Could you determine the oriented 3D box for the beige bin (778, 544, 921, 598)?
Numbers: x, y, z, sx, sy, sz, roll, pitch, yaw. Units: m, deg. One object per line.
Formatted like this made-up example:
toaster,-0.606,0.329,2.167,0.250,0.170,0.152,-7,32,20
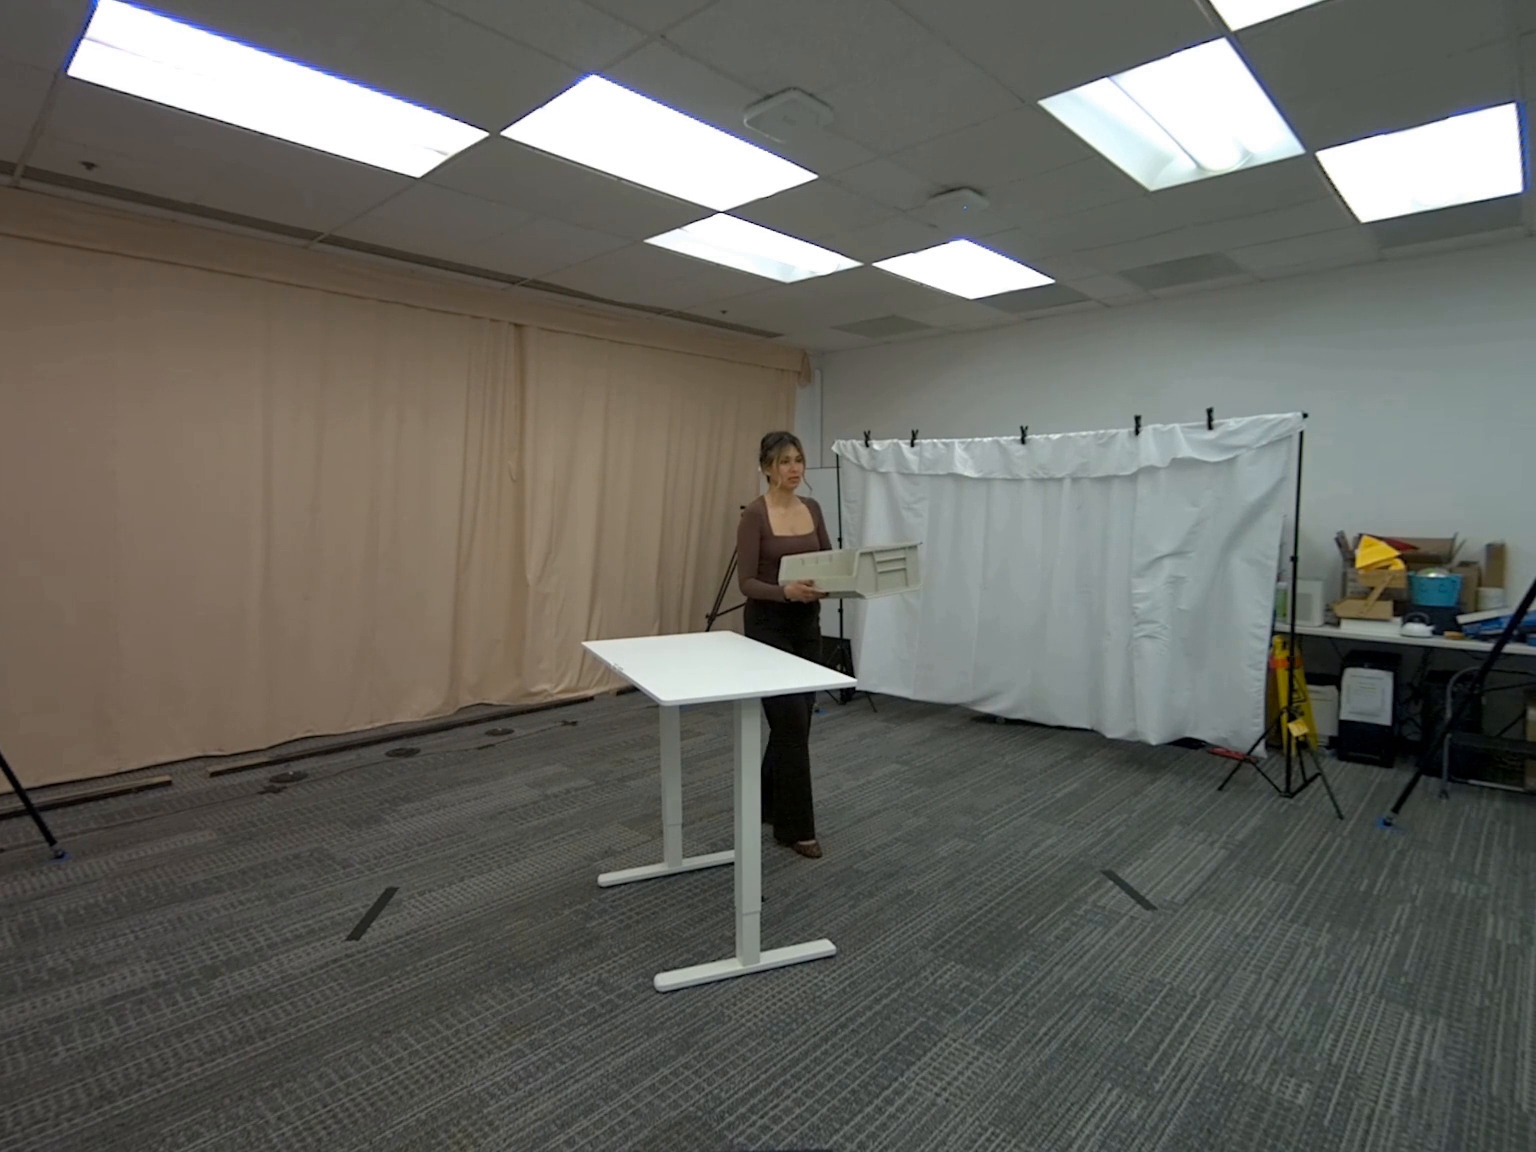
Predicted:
beige bin,0.312,-0.011,3.248,0.366,0.189,0.435,-6,2,-38
